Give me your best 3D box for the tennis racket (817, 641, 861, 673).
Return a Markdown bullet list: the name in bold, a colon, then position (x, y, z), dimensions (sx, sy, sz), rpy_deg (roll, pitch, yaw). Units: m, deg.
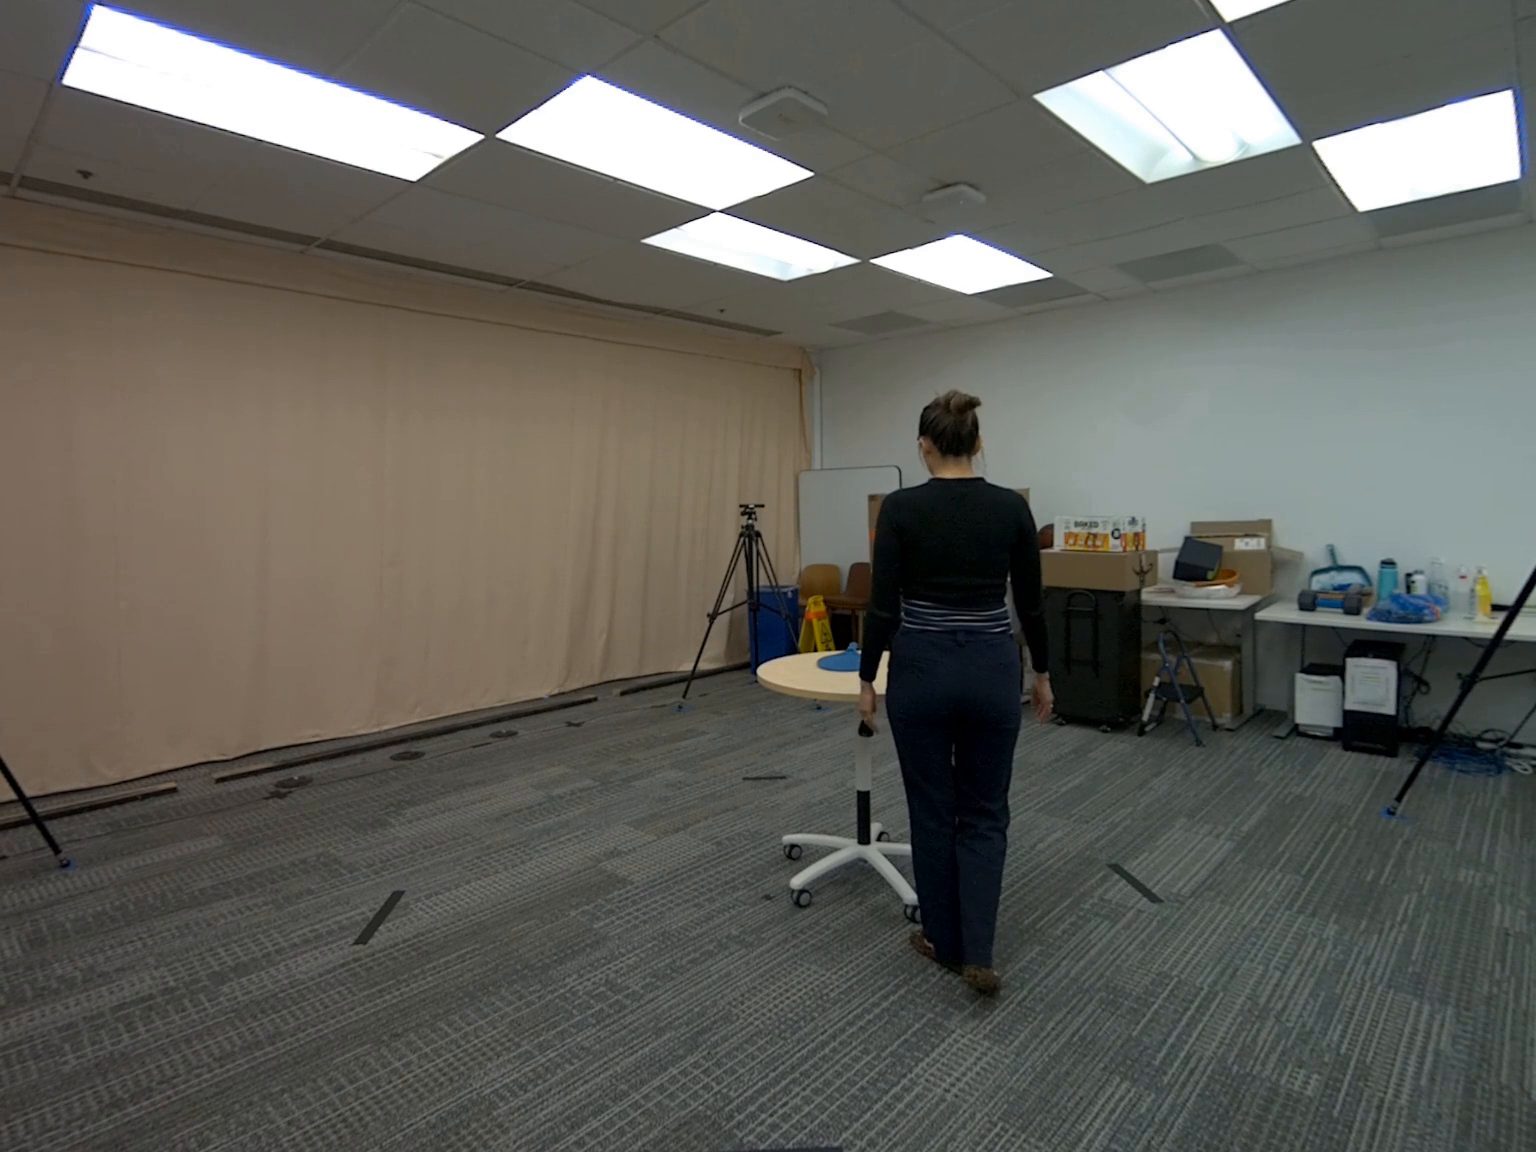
- **tennis racket**: position (0.308, 0.314, 3.247), dimensions (0.217, 0.031, 0.428), rpy_deg (0, 7, 13)
